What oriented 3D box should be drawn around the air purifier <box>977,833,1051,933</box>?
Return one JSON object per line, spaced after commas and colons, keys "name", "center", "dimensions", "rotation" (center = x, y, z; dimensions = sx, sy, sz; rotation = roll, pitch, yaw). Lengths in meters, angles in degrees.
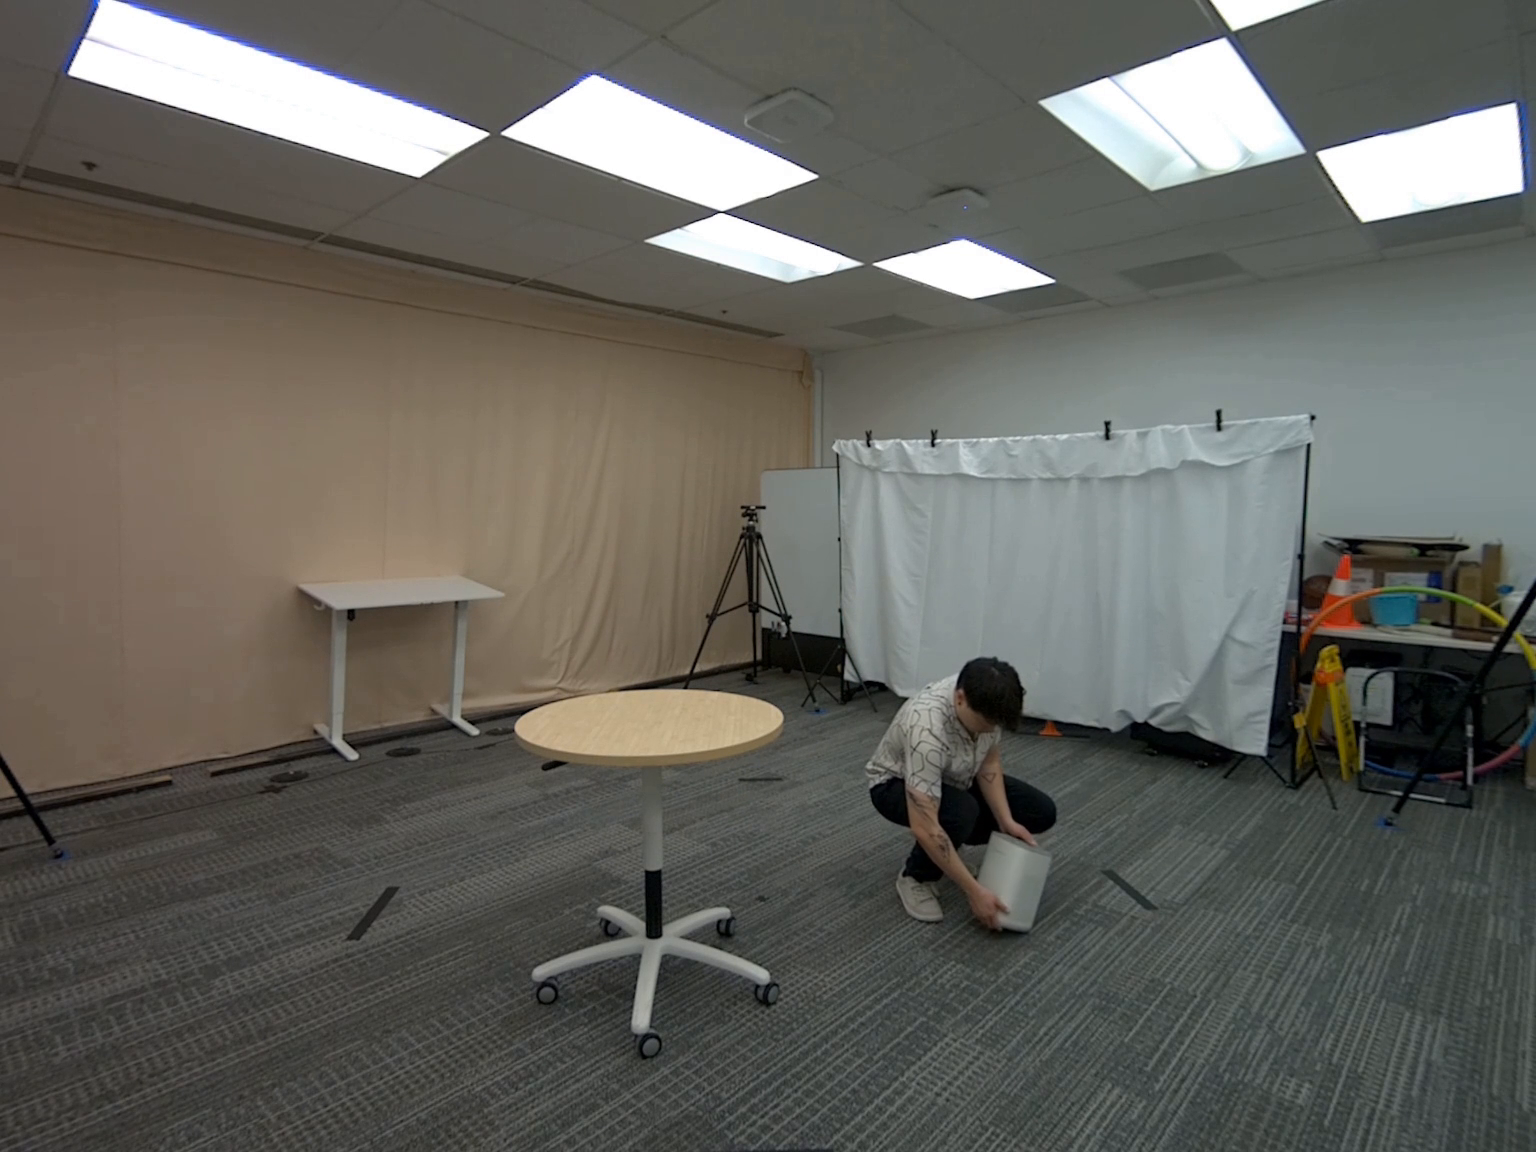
{"name": "air purifier", "center": [0.799, 1.008, 2.781], "dimensions": [0.167, 0.265, 0.176], "rotation": [22, -5, -27]}
